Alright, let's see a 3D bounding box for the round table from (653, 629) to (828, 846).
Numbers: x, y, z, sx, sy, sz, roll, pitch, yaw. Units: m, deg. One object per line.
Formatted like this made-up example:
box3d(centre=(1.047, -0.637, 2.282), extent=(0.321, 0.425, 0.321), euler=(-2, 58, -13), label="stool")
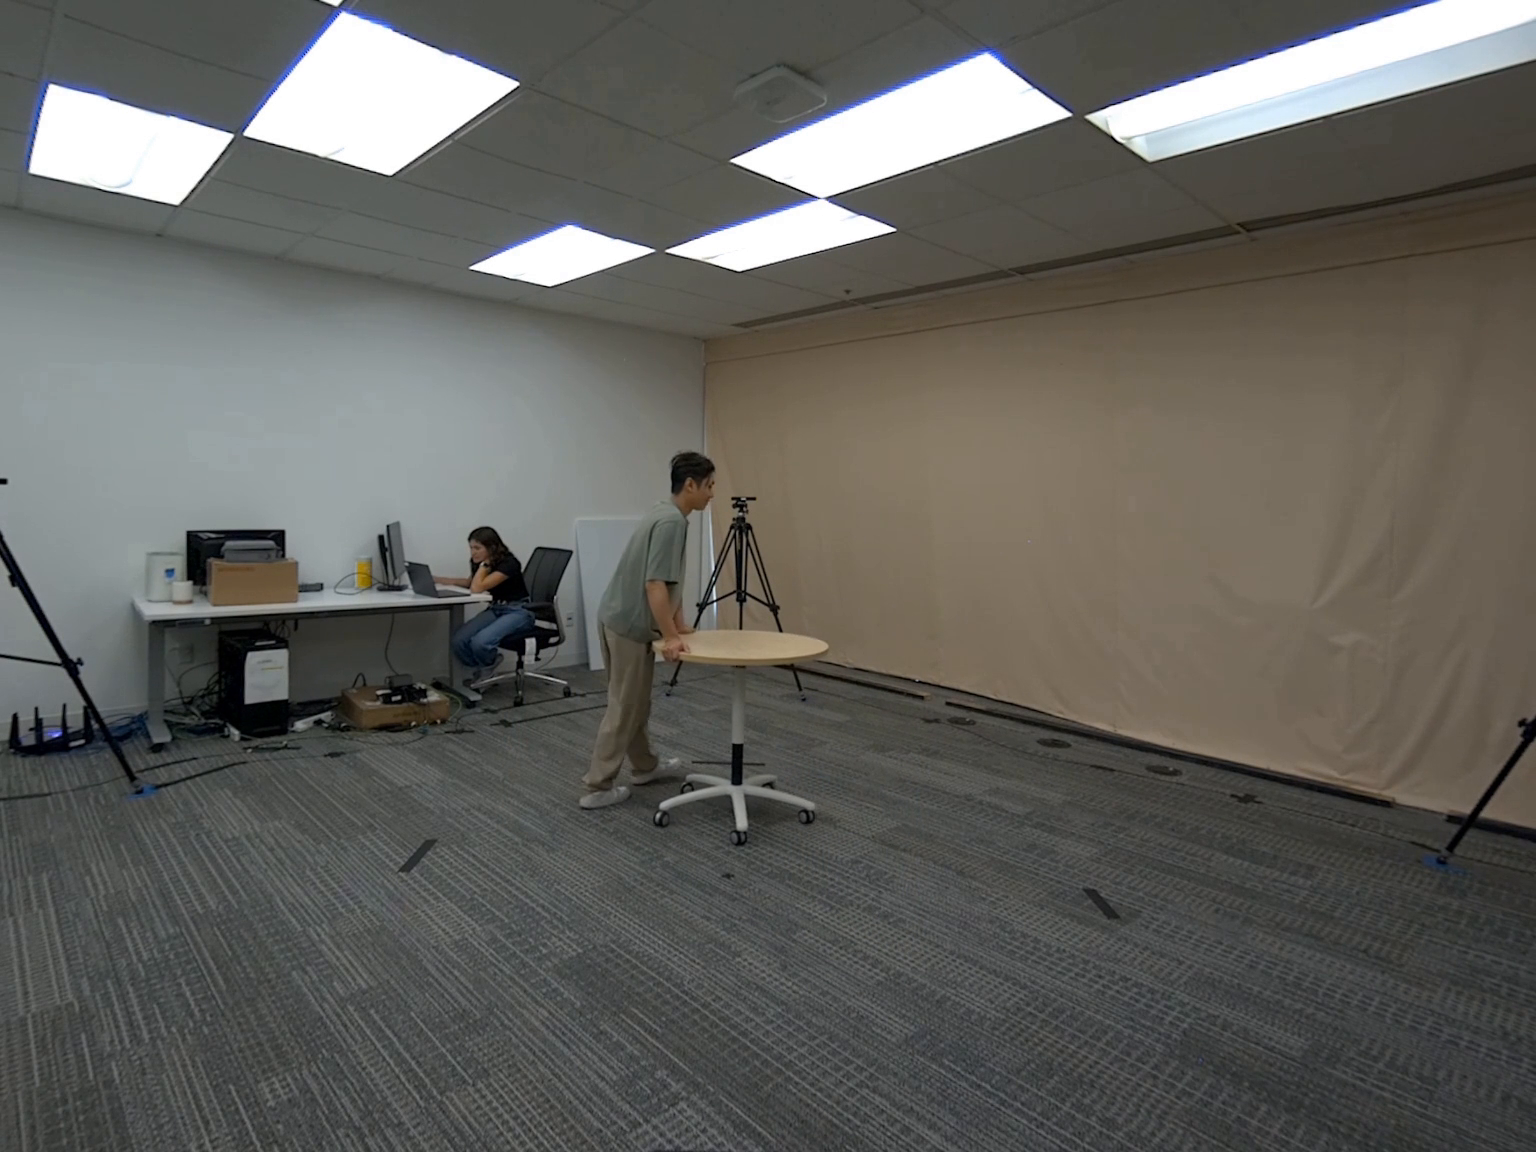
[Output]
box3d(centre=(-0.144, 0.674, 3.672), extent=(0.784, 0.785, 0.787), euler=(1, 3, -1), label="round table")
